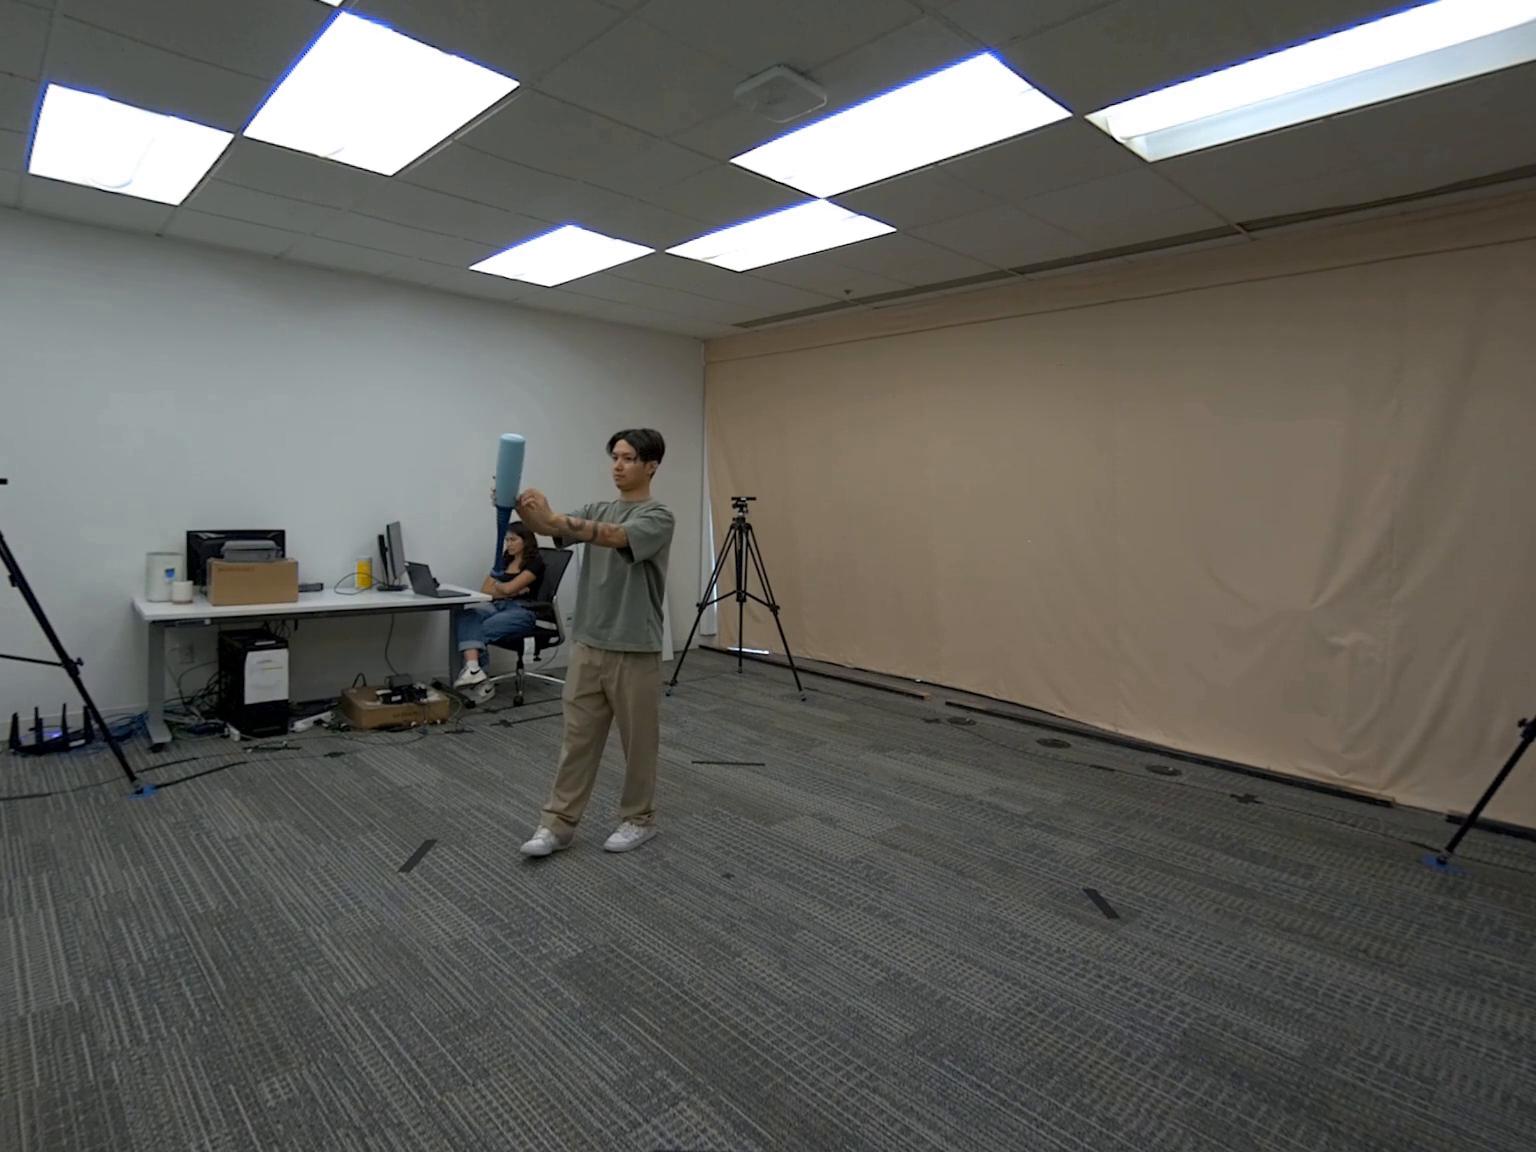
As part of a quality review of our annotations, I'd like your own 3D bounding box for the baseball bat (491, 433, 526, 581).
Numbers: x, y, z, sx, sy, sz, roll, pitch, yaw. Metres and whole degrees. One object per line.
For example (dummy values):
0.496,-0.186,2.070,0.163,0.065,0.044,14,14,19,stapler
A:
-0.933,-0.239,2.966,0.088,0.537,0.090,10,22,-6,baseball bat
